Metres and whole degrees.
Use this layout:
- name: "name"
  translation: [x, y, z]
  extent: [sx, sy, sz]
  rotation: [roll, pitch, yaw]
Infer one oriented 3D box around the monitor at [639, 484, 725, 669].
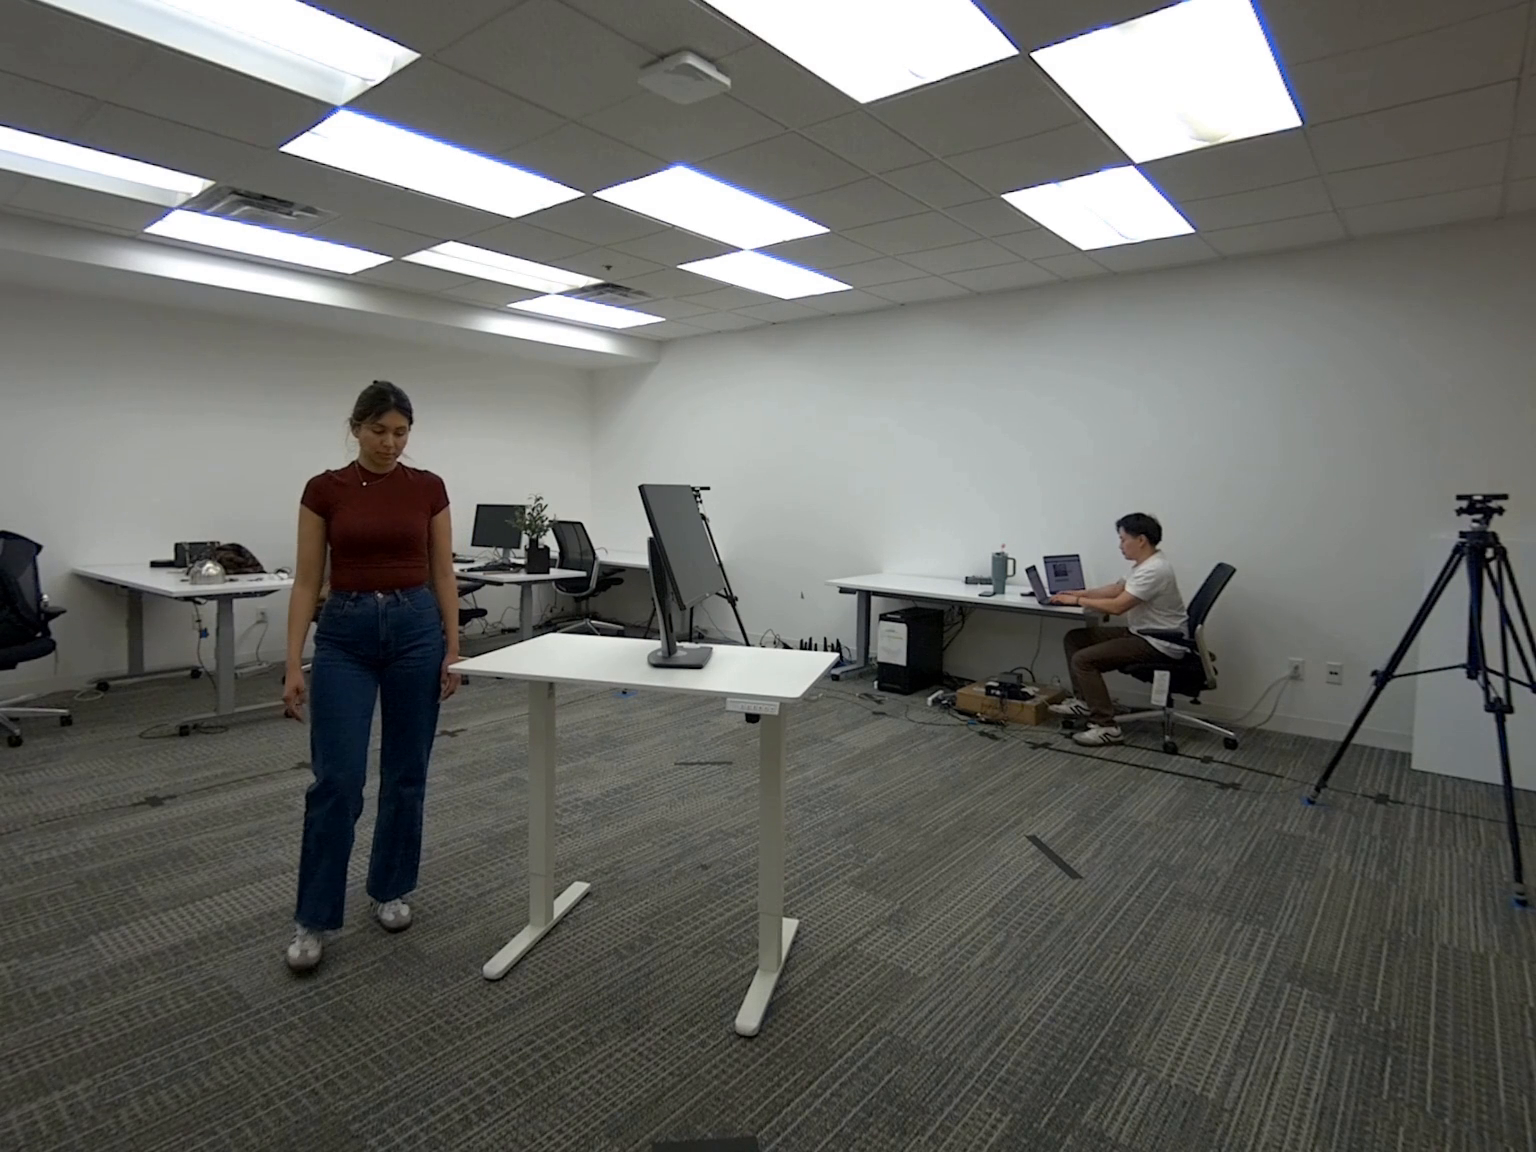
- name: "monitor"
  translation: [-0.282, -0.006, 2.499]
  extent: [0.189, 0.521, 0.536]
  rotation: [-2, 4, 6]
